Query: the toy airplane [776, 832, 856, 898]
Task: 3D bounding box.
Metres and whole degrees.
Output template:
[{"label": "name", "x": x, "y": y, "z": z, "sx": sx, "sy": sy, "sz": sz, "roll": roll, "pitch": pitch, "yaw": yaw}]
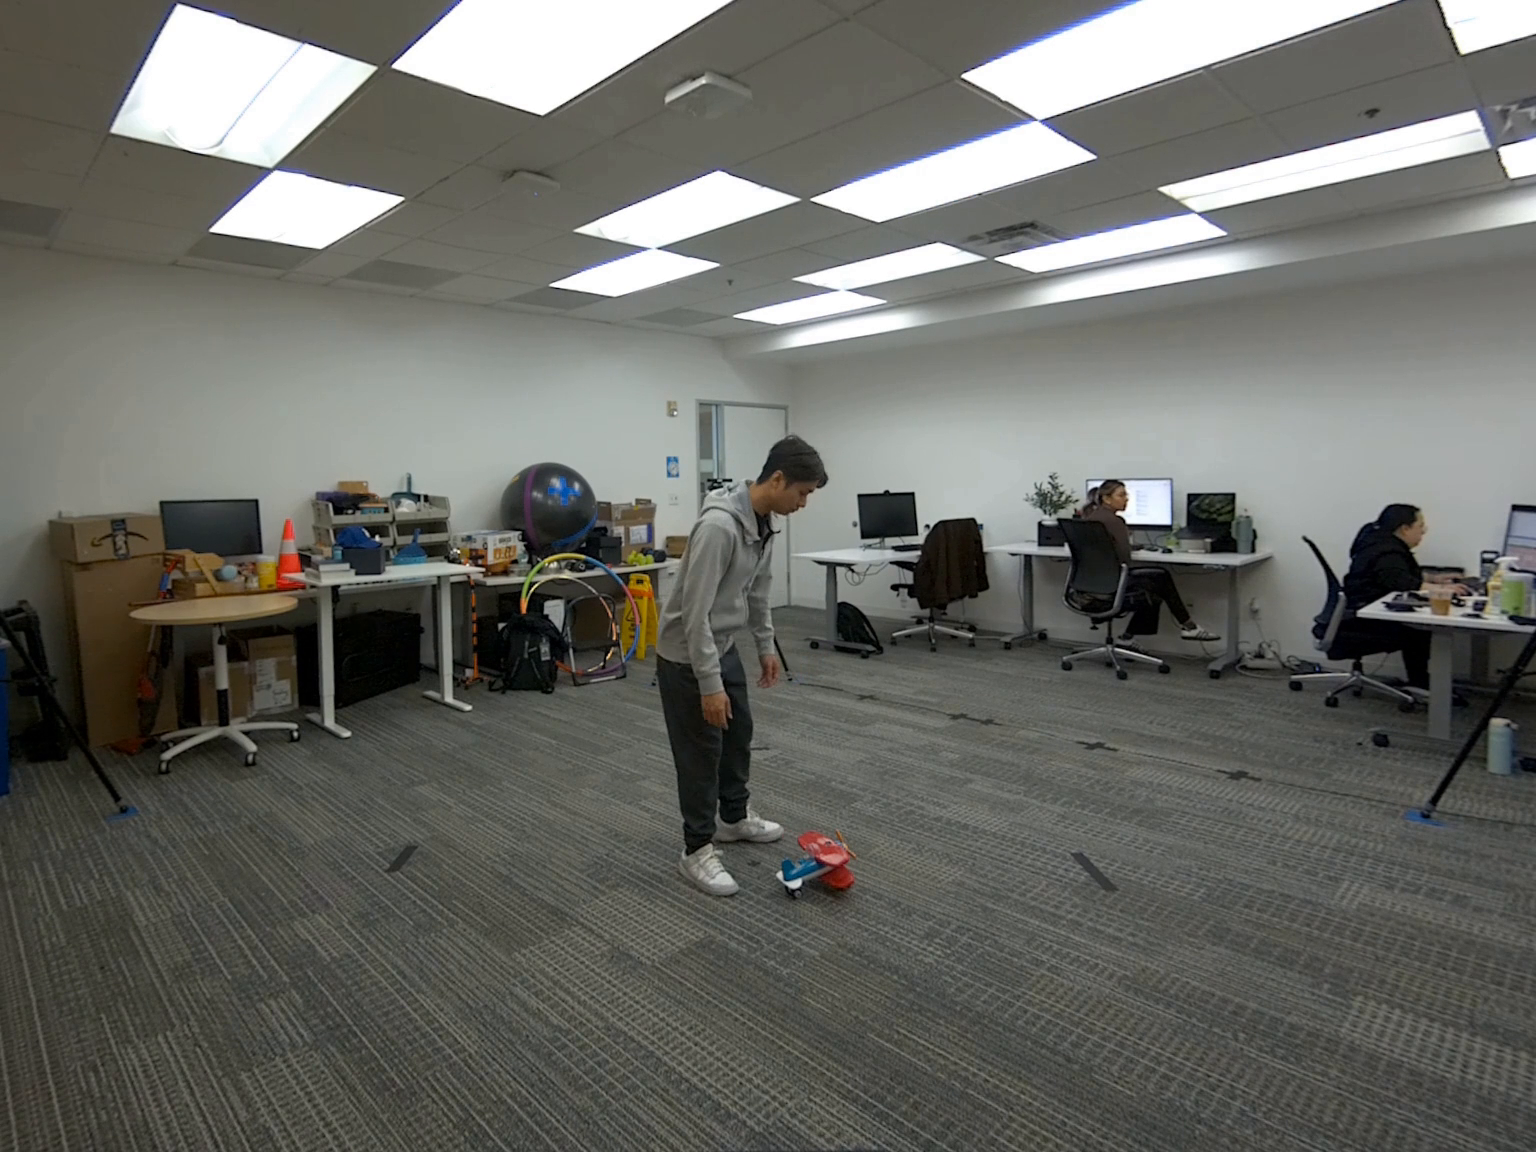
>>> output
[{"label": "toy airplane", "x": 0.174, "y": 0.990, "z": 2.883, "sx": 0.258, "sy": 0.156, "sz": 0.253, "roll": 3, "pitch": 6, "yaw": 34}]
